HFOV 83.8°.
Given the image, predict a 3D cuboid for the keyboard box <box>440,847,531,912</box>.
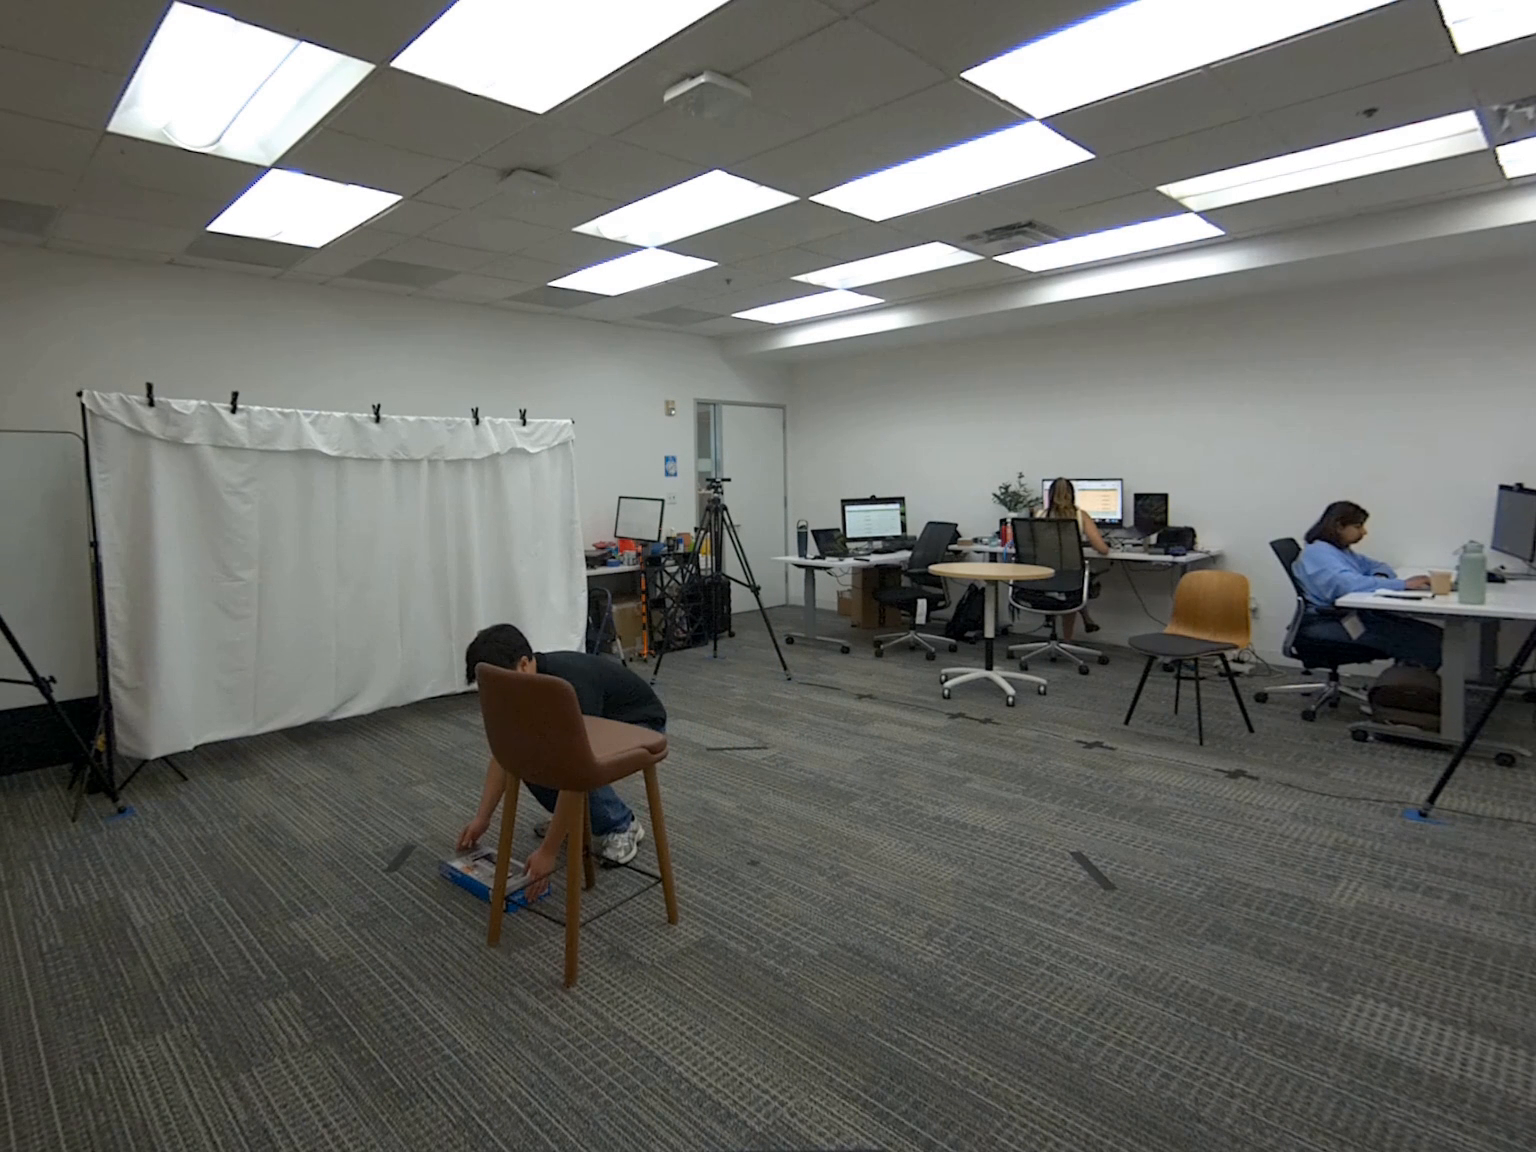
[{"bbox_3d":[-0.955,1.049,2.979,0.450,0.059,0.171,6,10,42],"label":"keyboard box"}]
